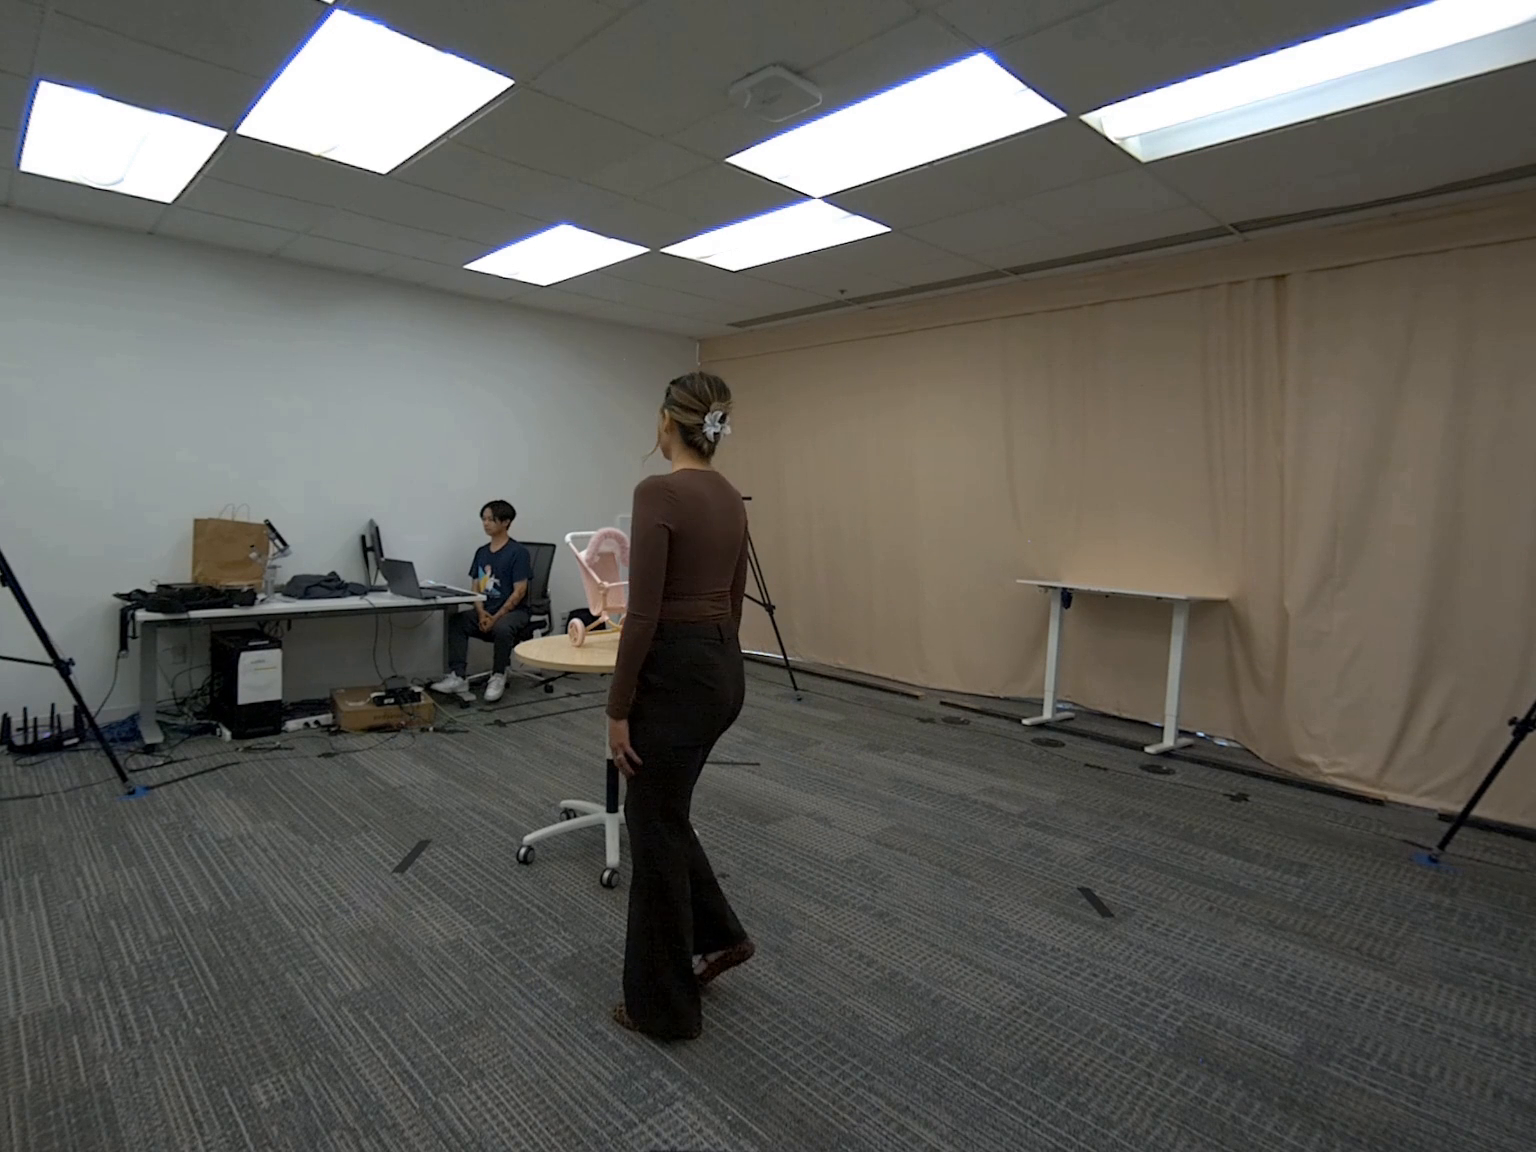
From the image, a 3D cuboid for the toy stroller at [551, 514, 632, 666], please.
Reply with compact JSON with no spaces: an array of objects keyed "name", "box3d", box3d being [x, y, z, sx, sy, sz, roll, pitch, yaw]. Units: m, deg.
[{"name":"toy stroller","box3d":[-0.622,0.055,3.325,0.275,0.539,0.346,-1,-10,-39]}]
